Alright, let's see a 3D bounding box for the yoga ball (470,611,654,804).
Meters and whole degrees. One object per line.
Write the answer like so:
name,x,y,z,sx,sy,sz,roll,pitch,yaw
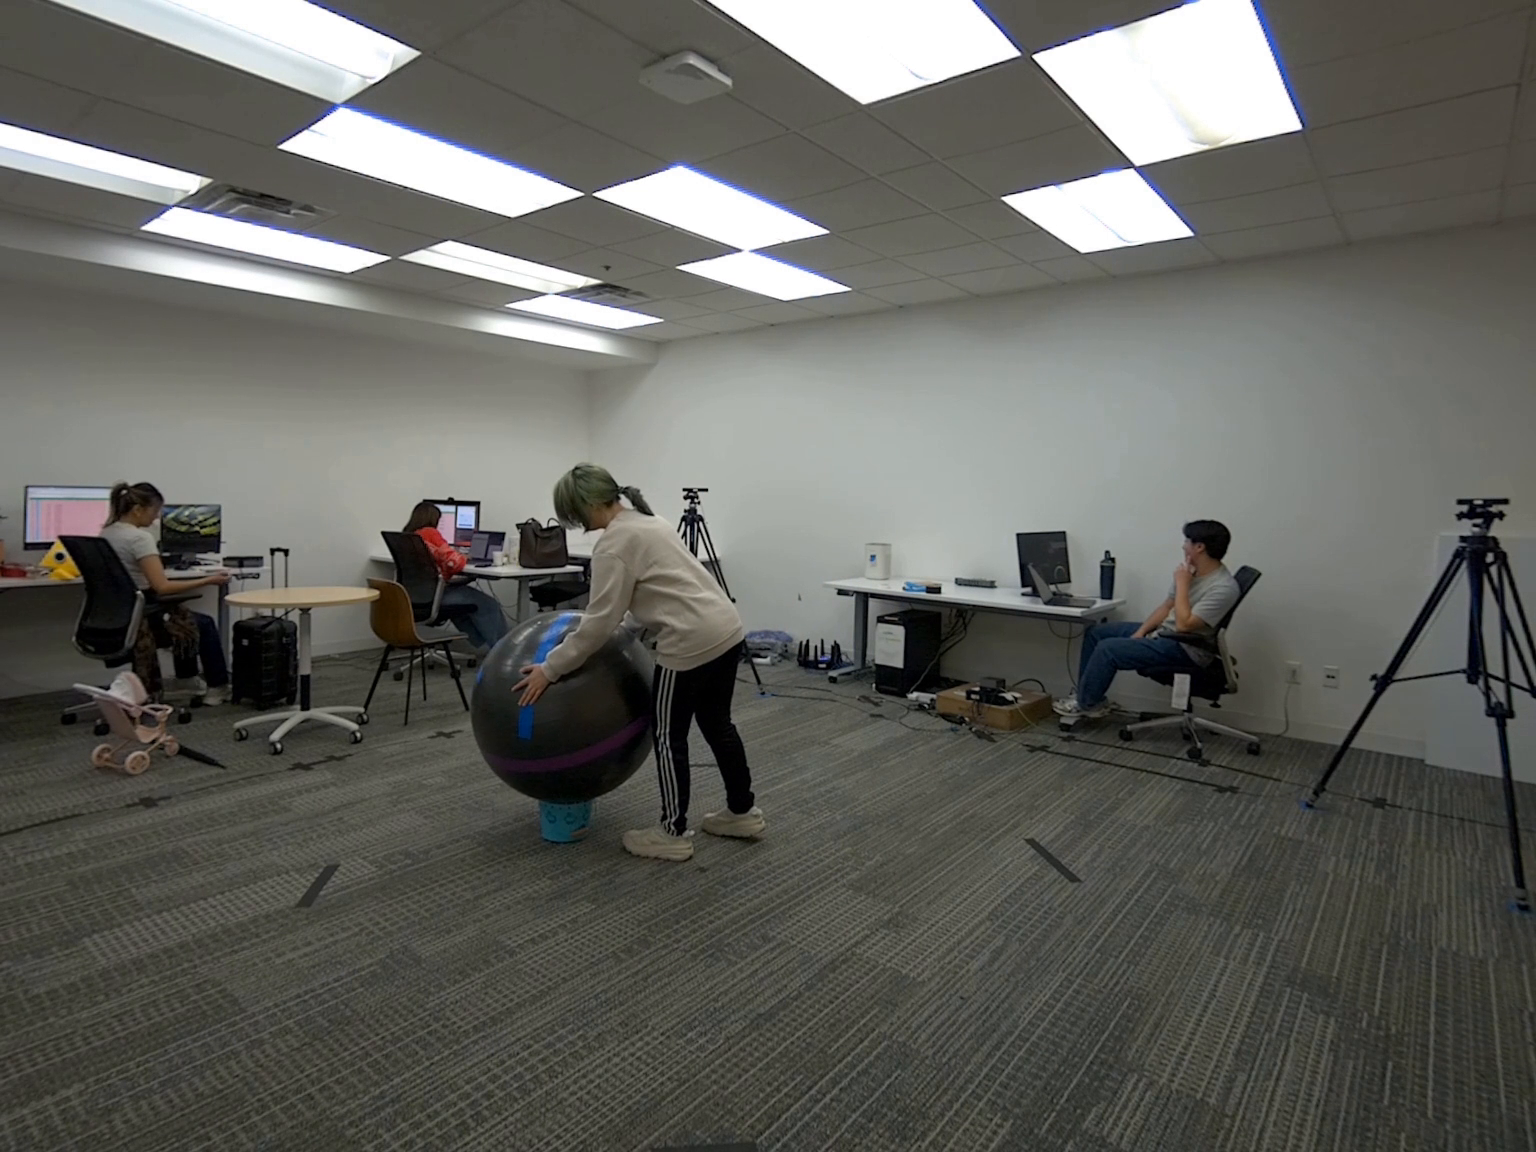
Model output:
yoga ball,-0.822,0.520,3.413,0.757,0.755,0.762,1,4,-2
